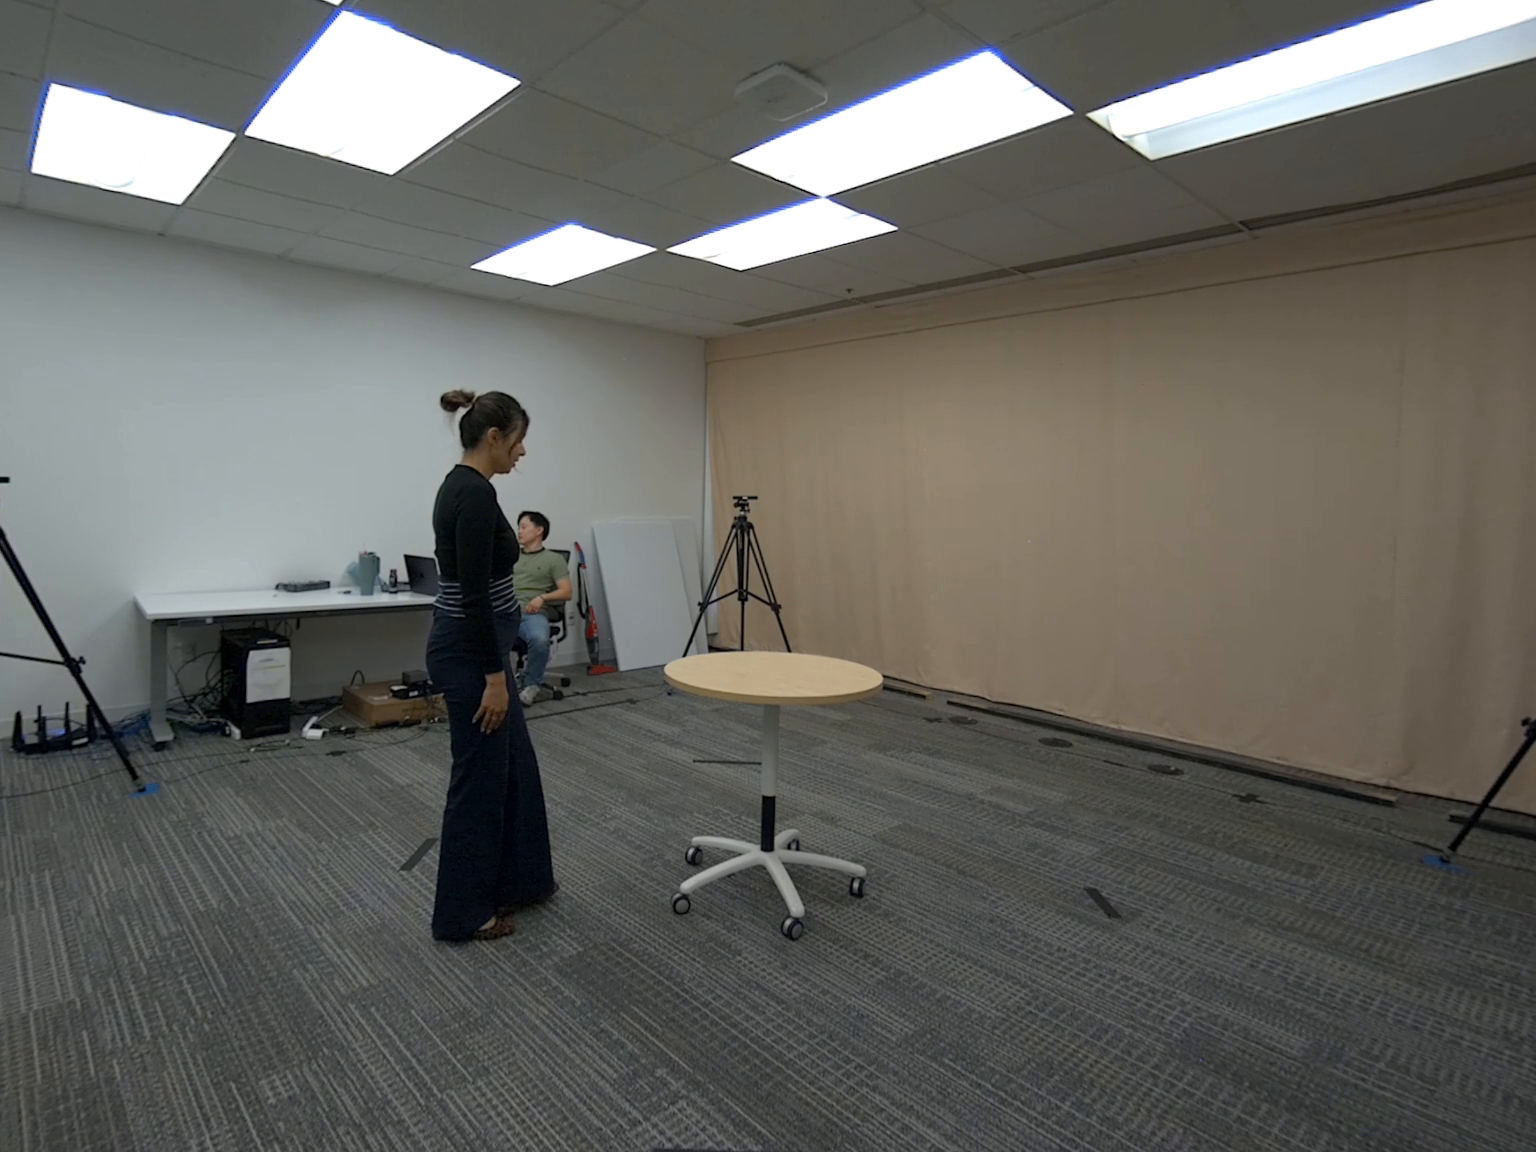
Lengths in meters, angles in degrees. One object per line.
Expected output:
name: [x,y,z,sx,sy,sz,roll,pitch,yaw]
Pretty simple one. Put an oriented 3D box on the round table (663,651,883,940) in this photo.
round table: [-0.008,0.730,2.980,0.763,0.792,0.766,2,4,-1]
